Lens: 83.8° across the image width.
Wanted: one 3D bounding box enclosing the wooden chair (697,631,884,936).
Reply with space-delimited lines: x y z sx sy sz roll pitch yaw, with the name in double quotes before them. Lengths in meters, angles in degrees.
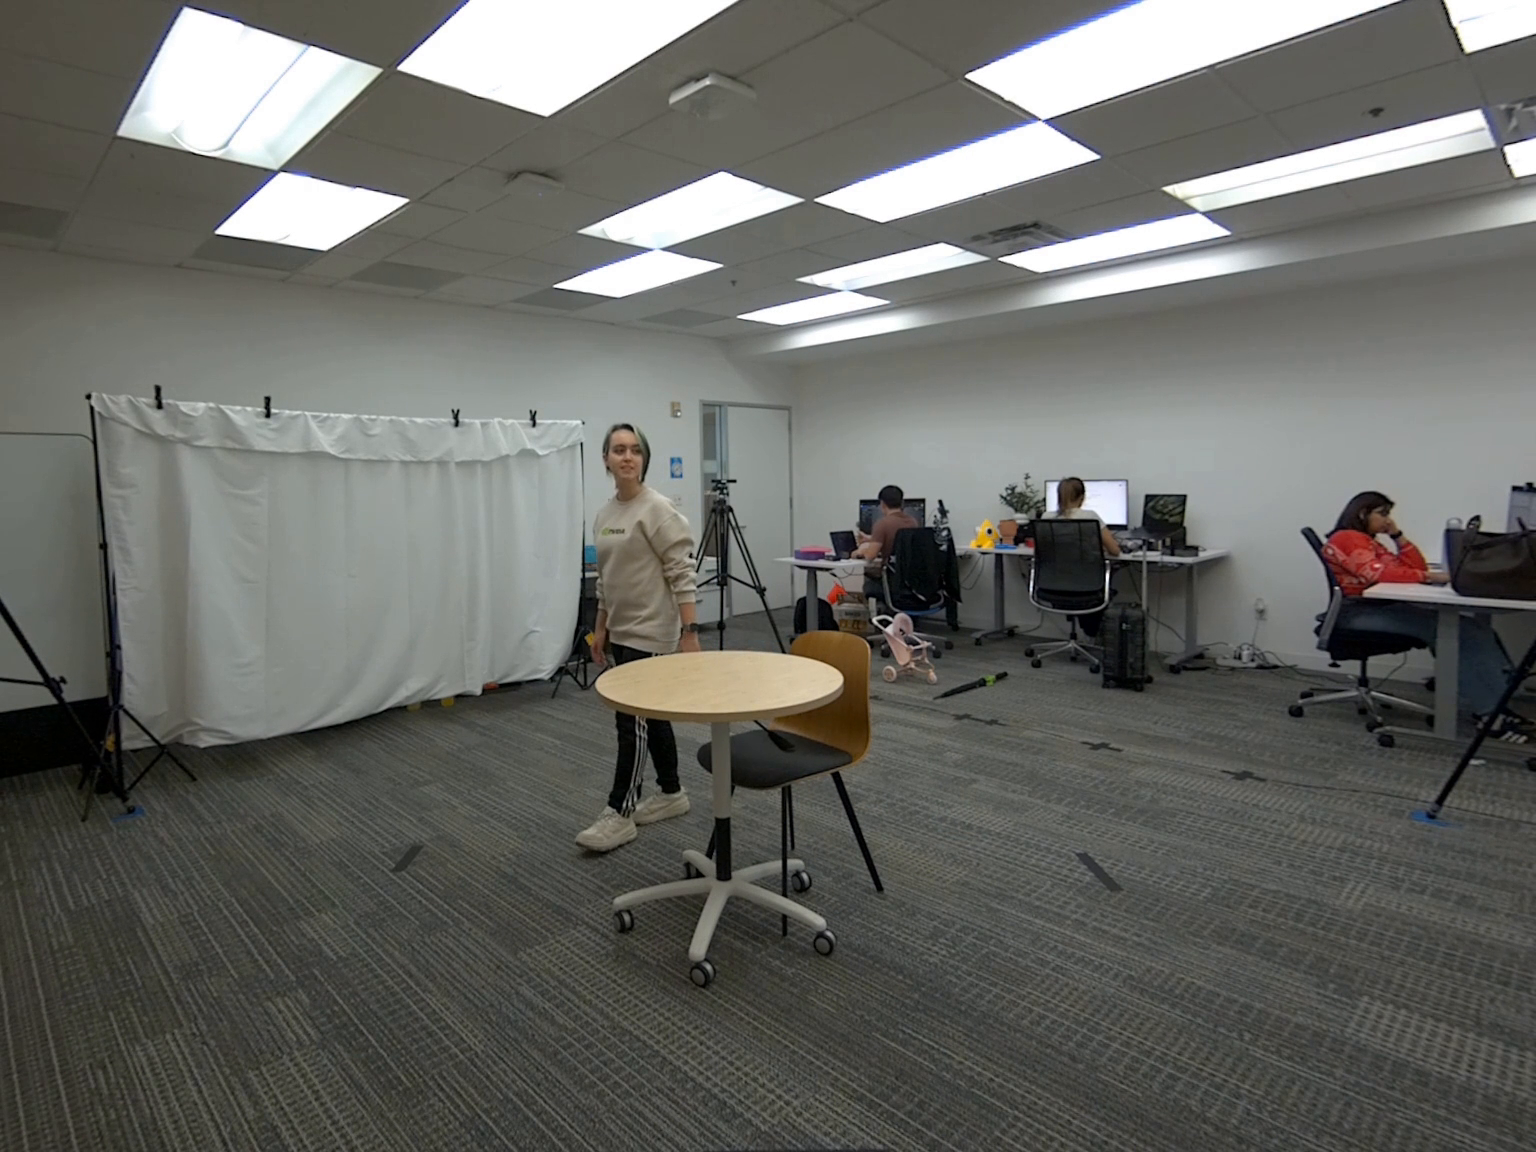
"wooden chair" 0.060 0.642 2.884 0.508 0.876 0.493 1 2 -39
